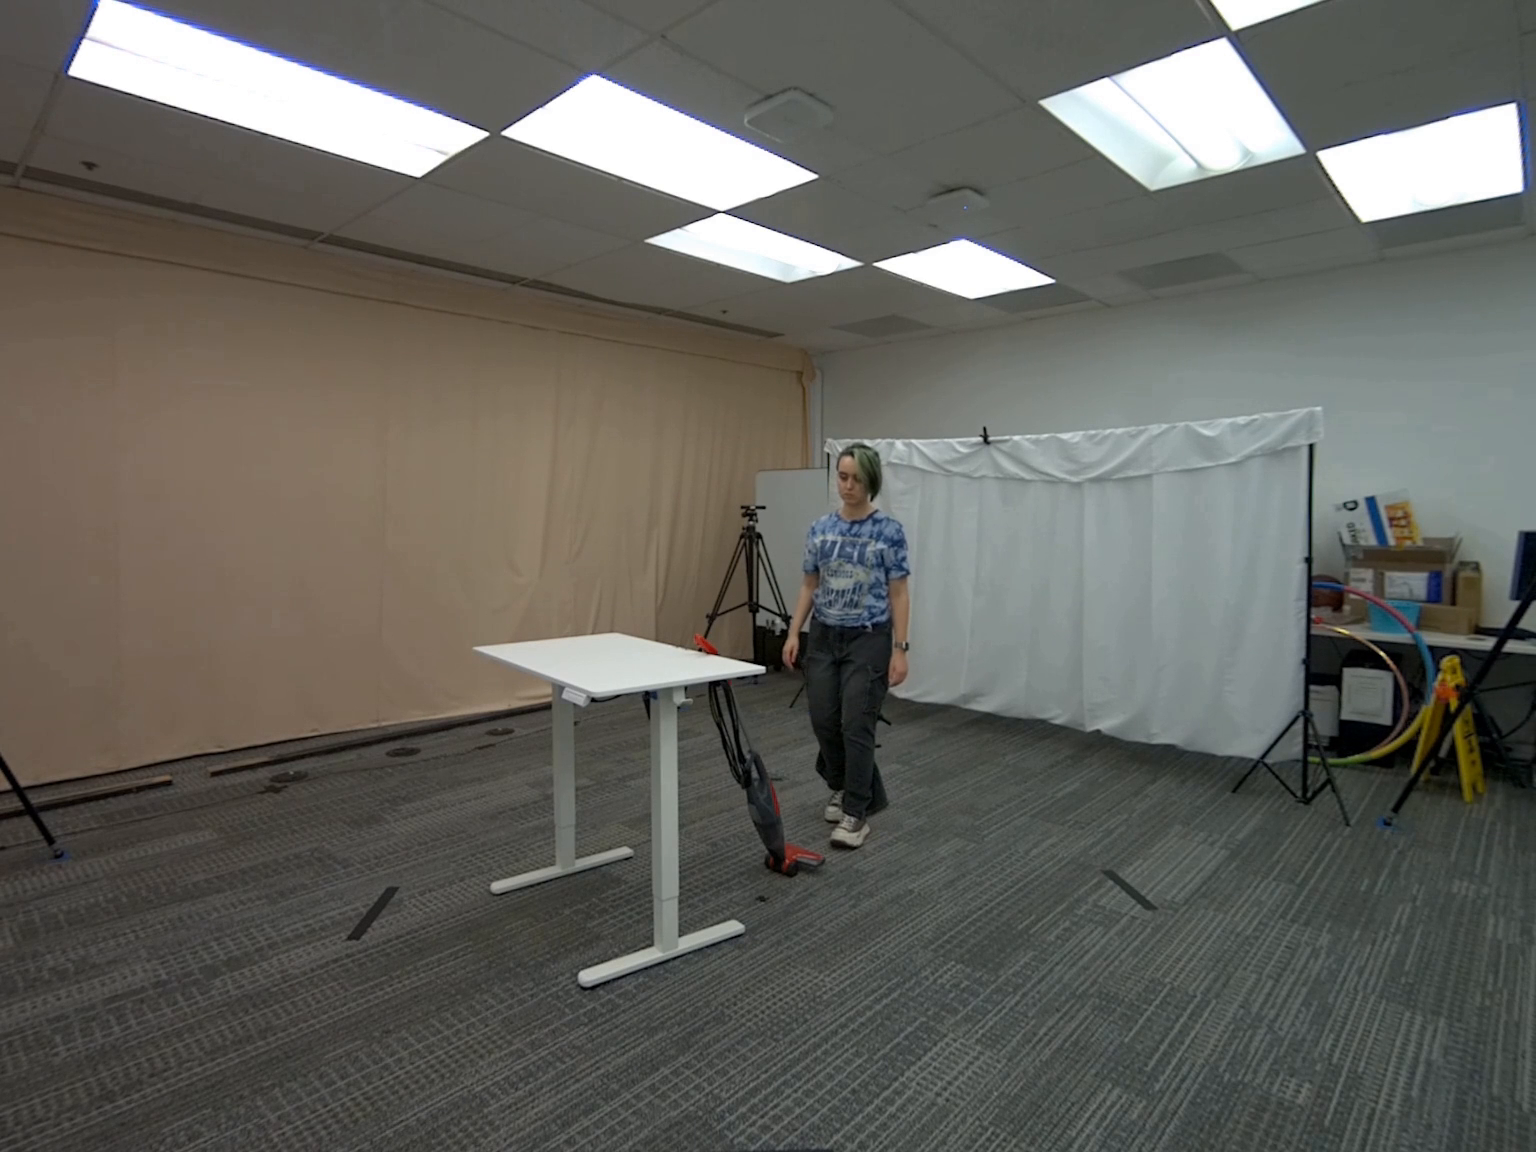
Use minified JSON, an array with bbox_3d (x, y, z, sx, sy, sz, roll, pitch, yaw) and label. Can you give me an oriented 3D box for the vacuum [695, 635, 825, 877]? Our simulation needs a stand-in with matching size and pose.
[{"bbox_3d":[-0.077,0.660,3.042,0.261,1.028,0.142,3,31,44],"label":"vacuum"}]
